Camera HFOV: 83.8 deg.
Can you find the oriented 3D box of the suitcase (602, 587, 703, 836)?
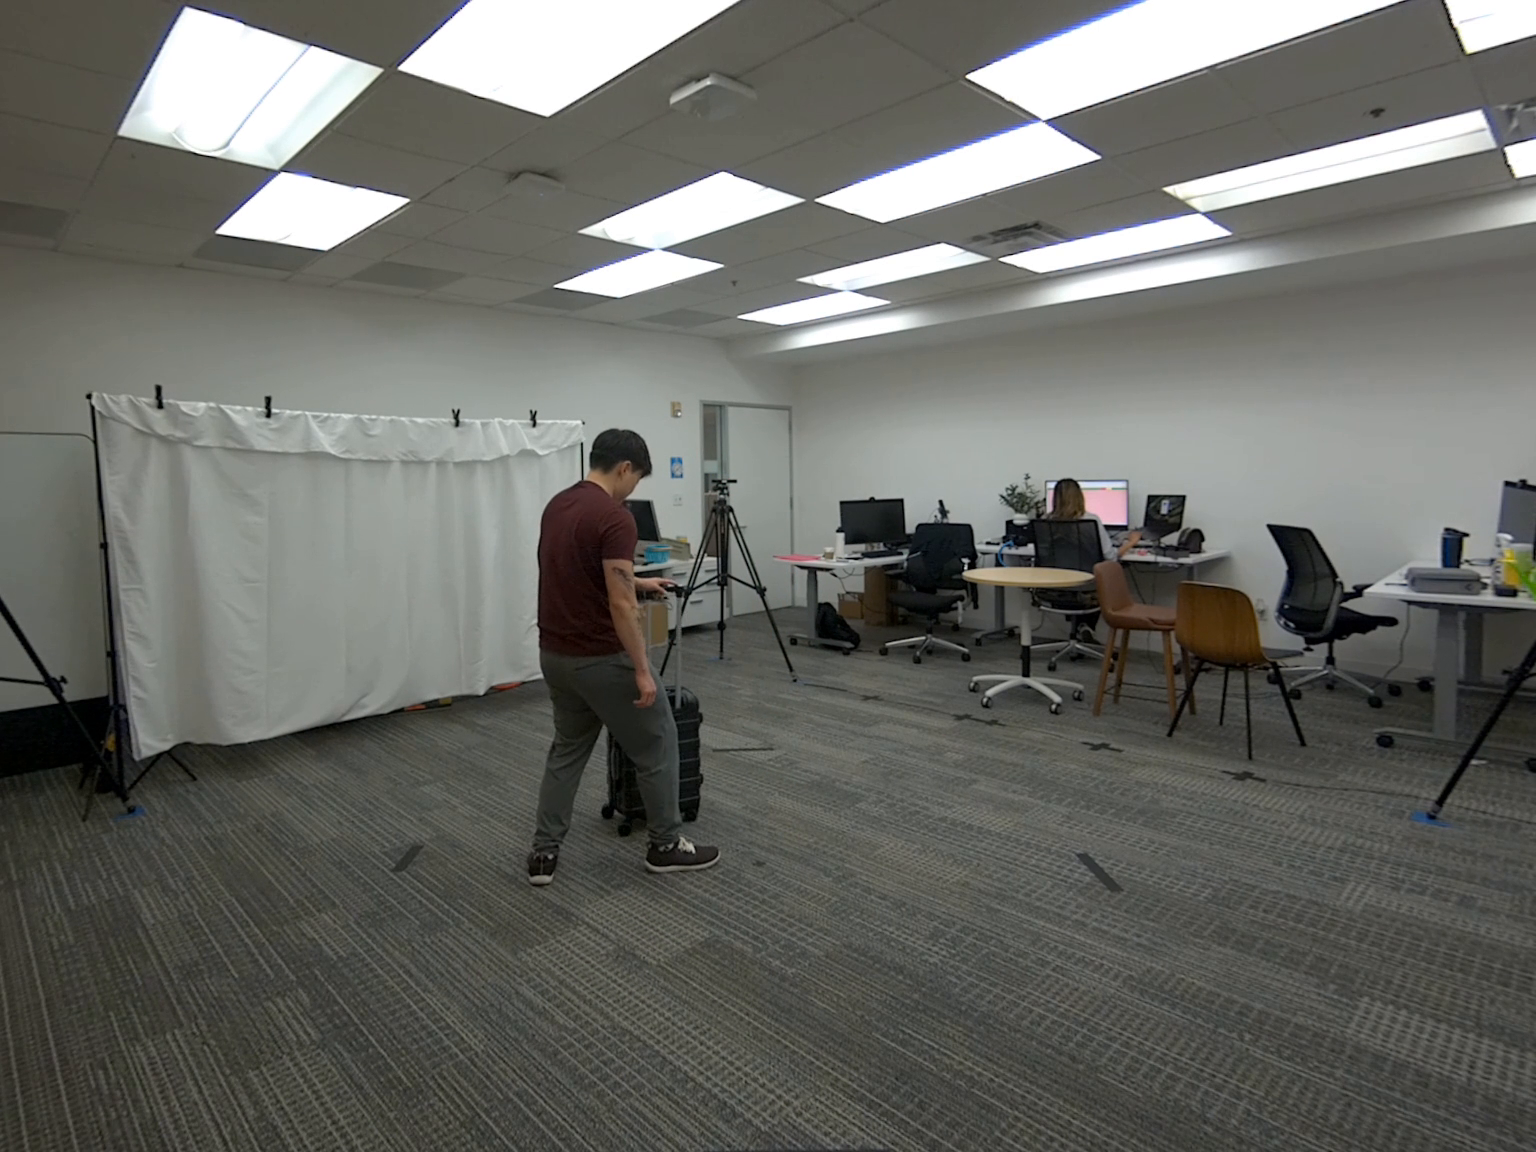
[{"bbox_3d":[-0.474,0.530,3.528,0.376,0.978,0.263,0,1,-25],"label":"suitcase"}]
